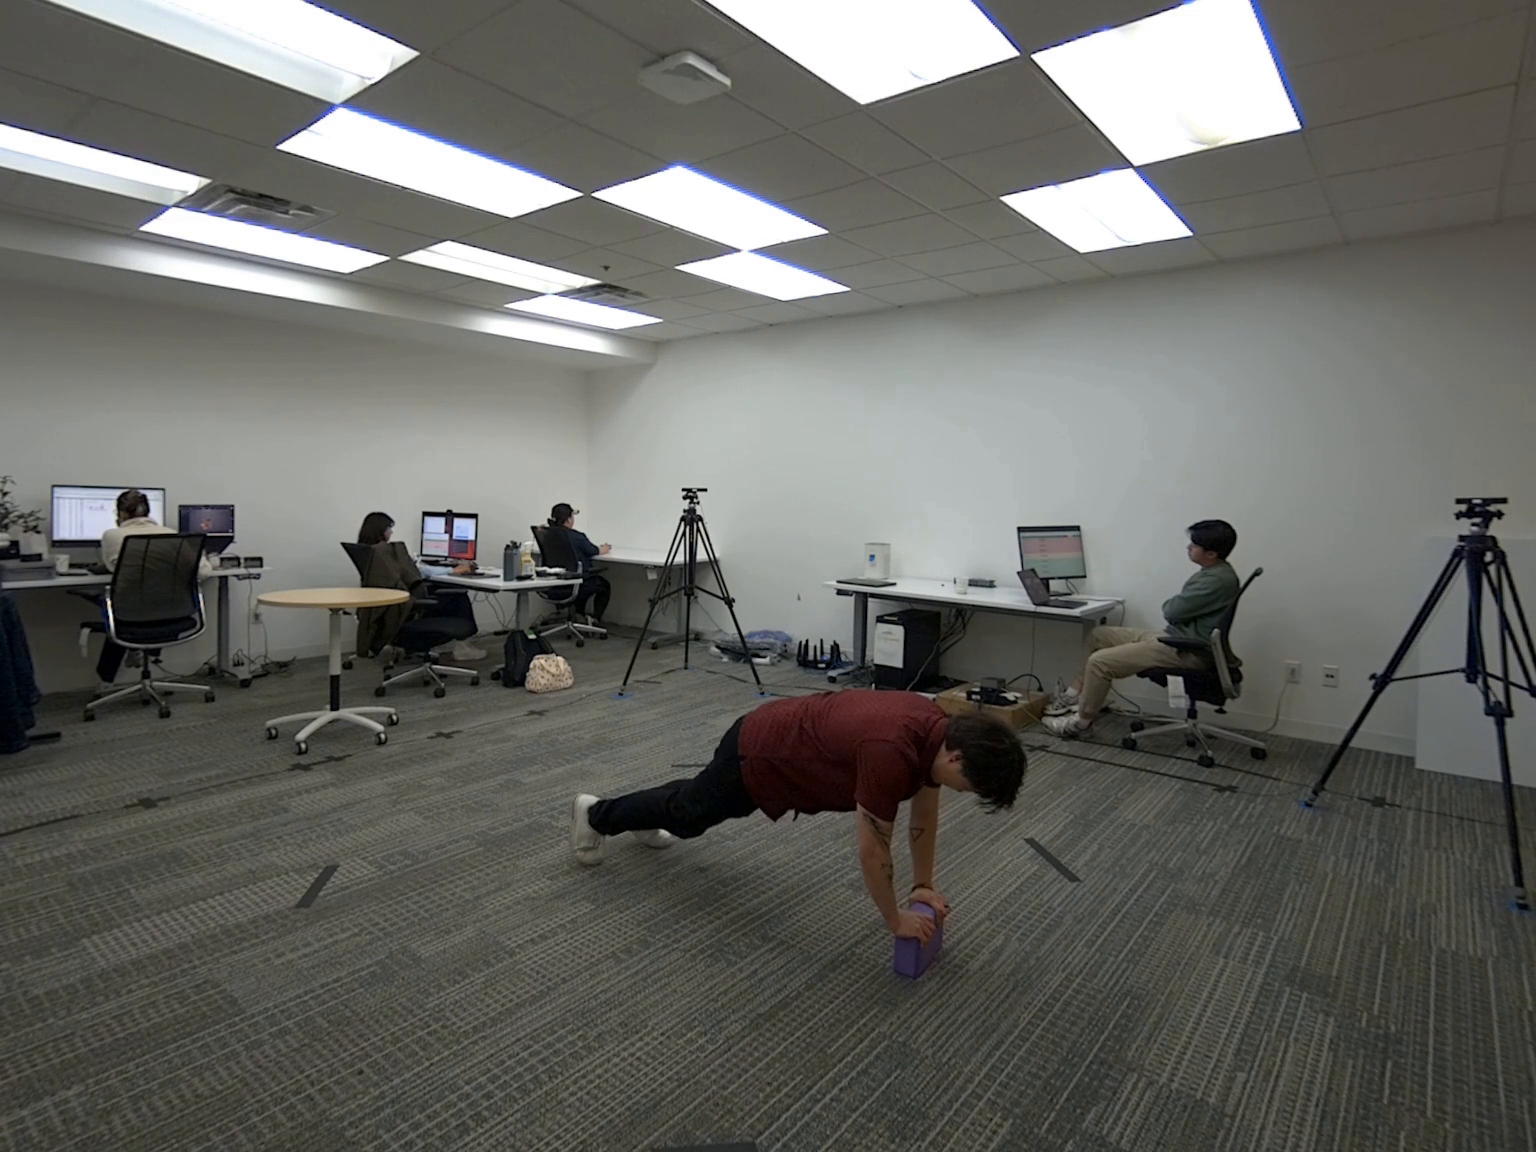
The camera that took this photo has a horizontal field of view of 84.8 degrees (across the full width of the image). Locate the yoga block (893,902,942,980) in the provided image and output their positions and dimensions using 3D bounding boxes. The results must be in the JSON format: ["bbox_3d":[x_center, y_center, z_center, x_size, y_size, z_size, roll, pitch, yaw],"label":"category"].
[{"bbox_3d":[0.449,1.069,2.543,0.079,0.148,0.223,6,6,30],"label":"yoga block"}]
